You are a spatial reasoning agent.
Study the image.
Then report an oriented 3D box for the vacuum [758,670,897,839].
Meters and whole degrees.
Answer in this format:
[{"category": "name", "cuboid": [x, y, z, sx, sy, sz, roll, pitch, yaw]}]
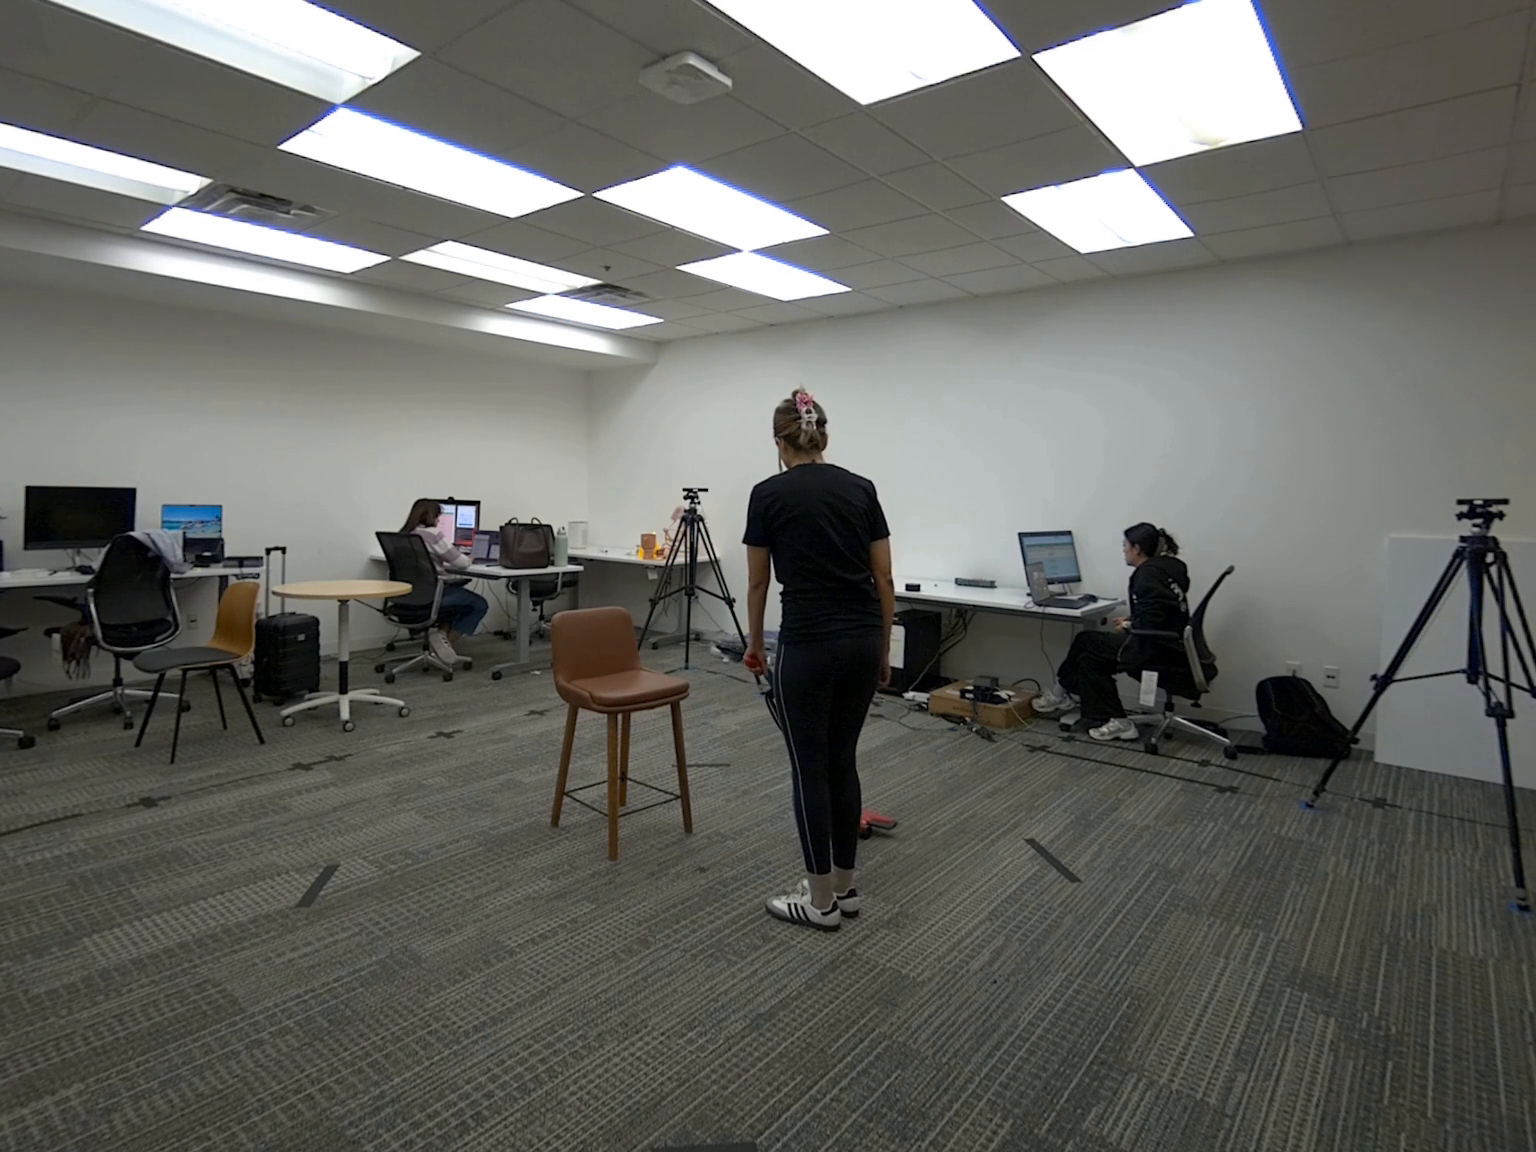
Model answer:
[{"category": "vacuum", "cuboid": [0.146, 0.659, 3.221, 0.260, 1.011, 0.145, 0, 45, 40]}]
